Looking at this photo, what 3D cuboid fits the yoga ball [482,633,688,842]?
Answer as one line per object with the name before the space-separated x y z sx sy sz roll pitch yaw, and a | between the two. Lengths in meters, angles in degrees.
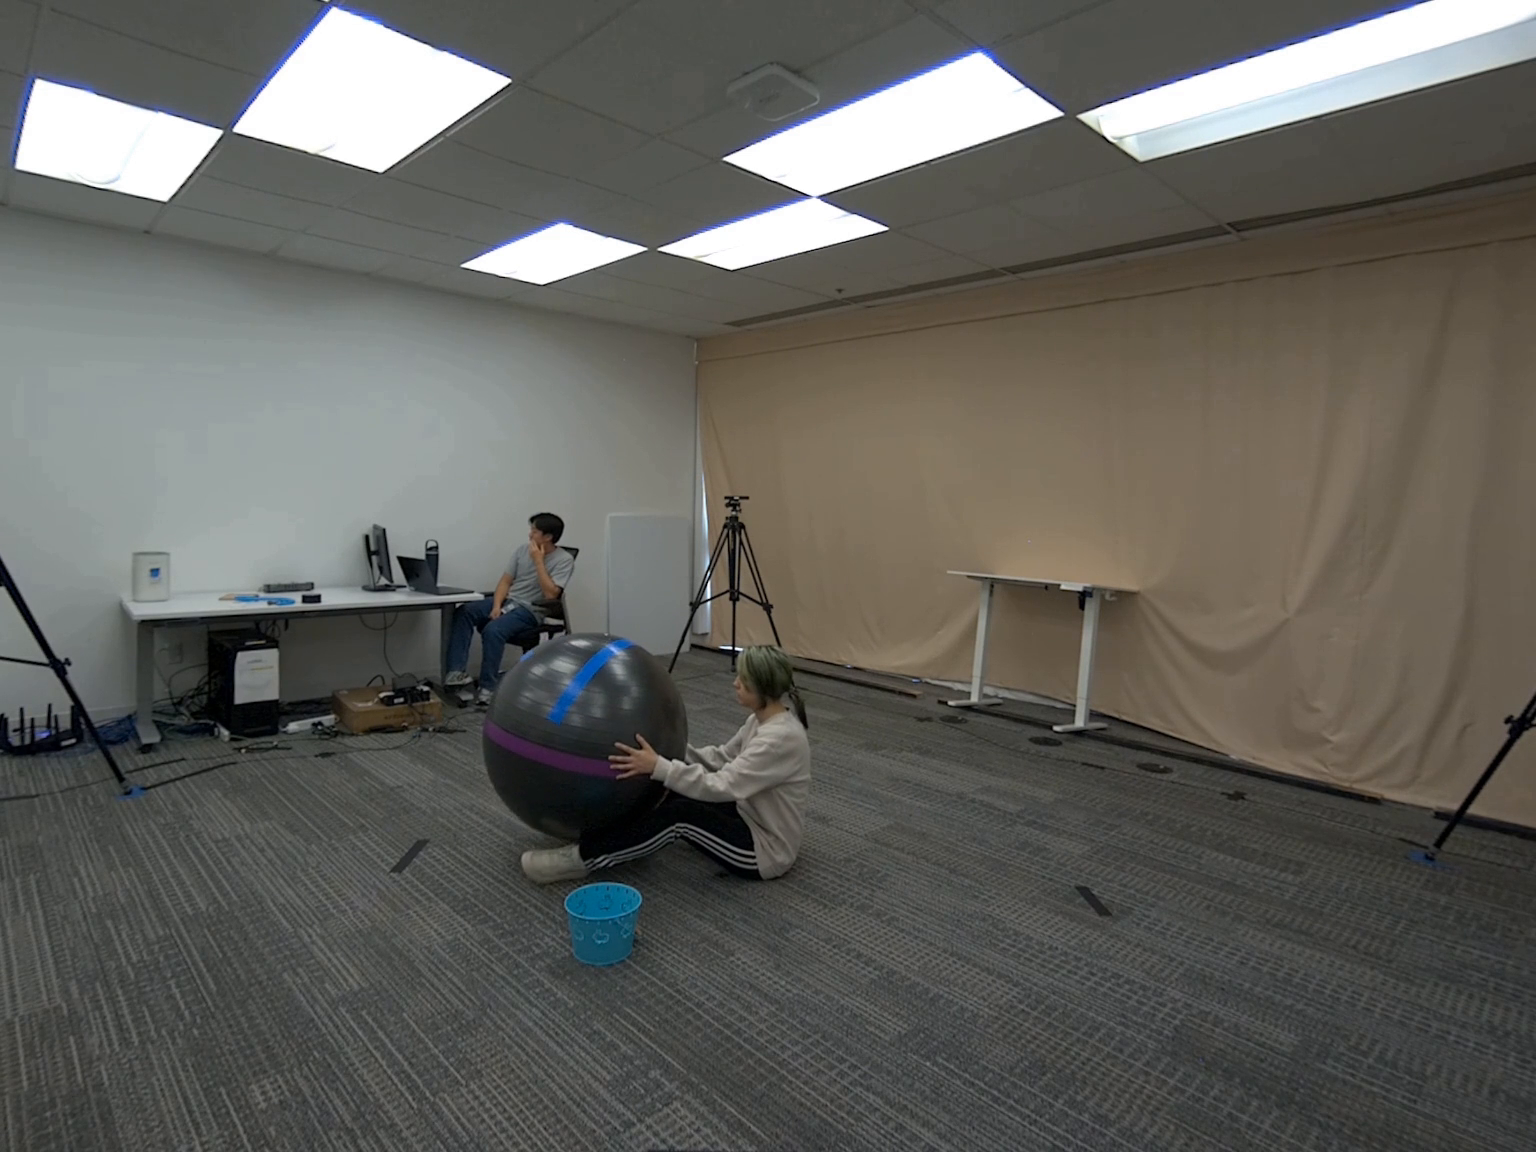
yoga ball | -0.702 0.603 3.182 0.757 0.756 0.761 1 4 -1
